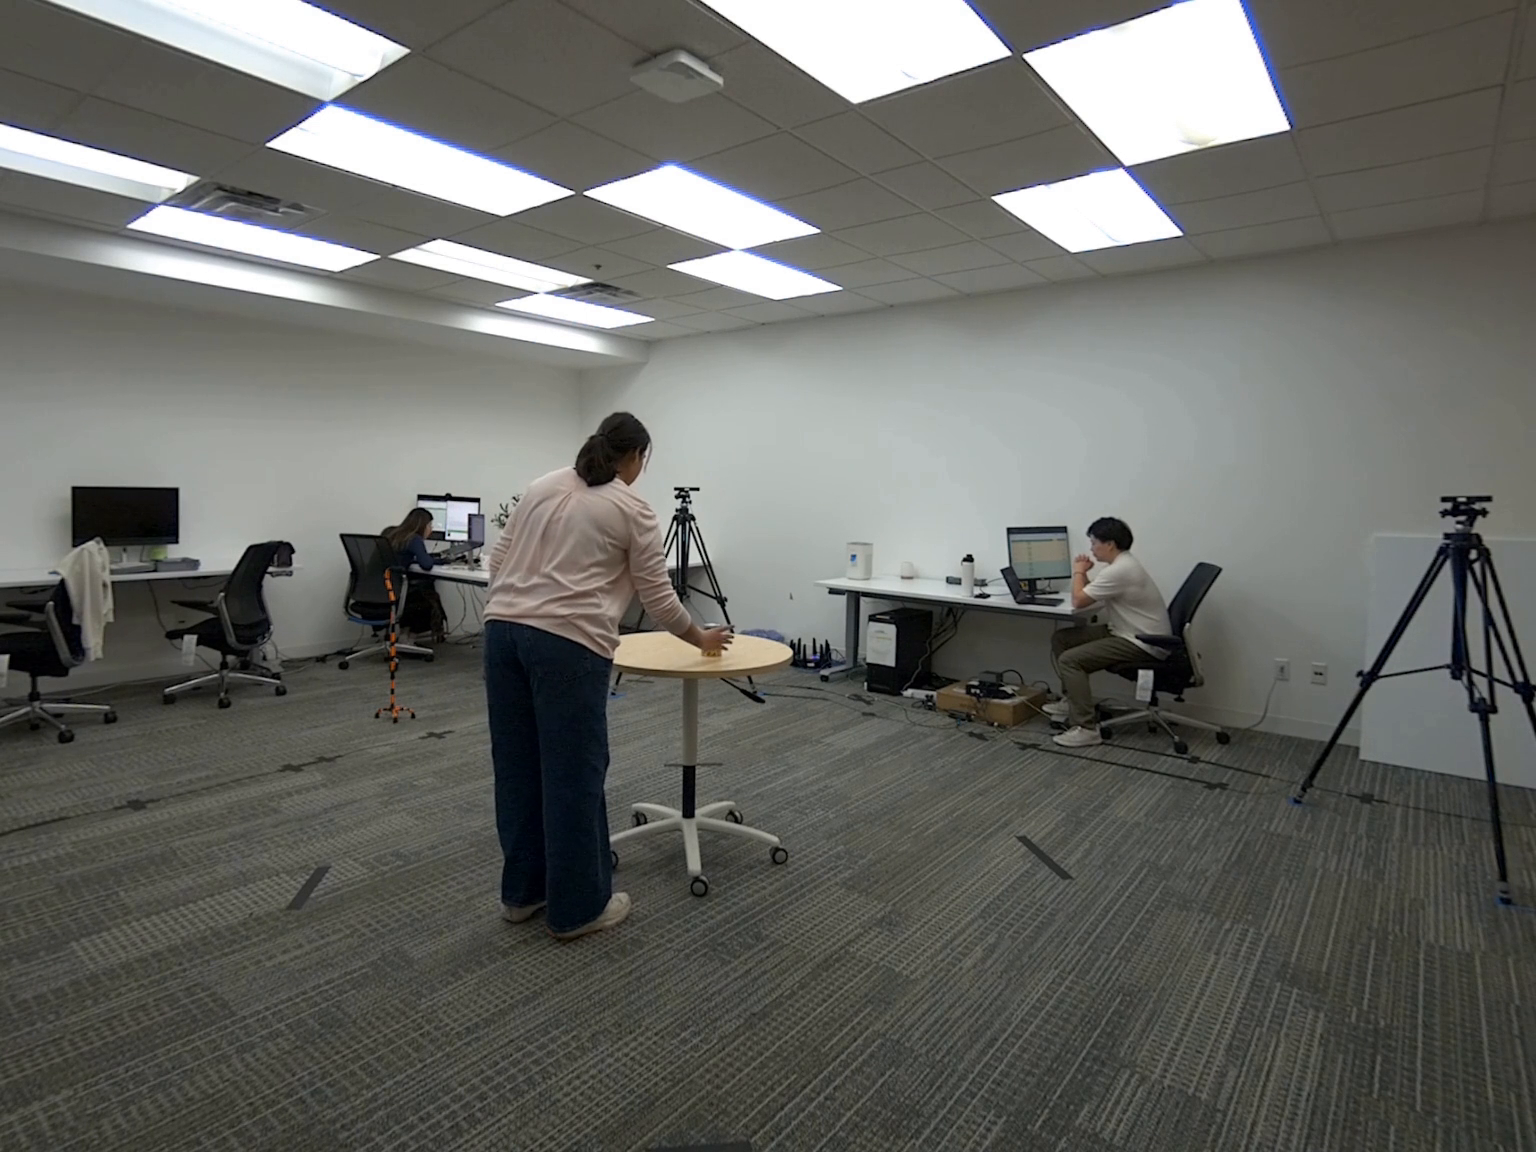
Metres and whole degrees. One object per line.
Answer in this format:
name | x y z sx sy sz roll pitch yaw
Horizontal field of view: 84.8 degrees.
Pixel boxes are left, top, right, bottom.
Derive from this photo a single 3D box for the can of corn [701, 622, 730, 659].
can of corn | -0.210 0.231 3.080 0.074 0.111 0.074 2 2 -2
